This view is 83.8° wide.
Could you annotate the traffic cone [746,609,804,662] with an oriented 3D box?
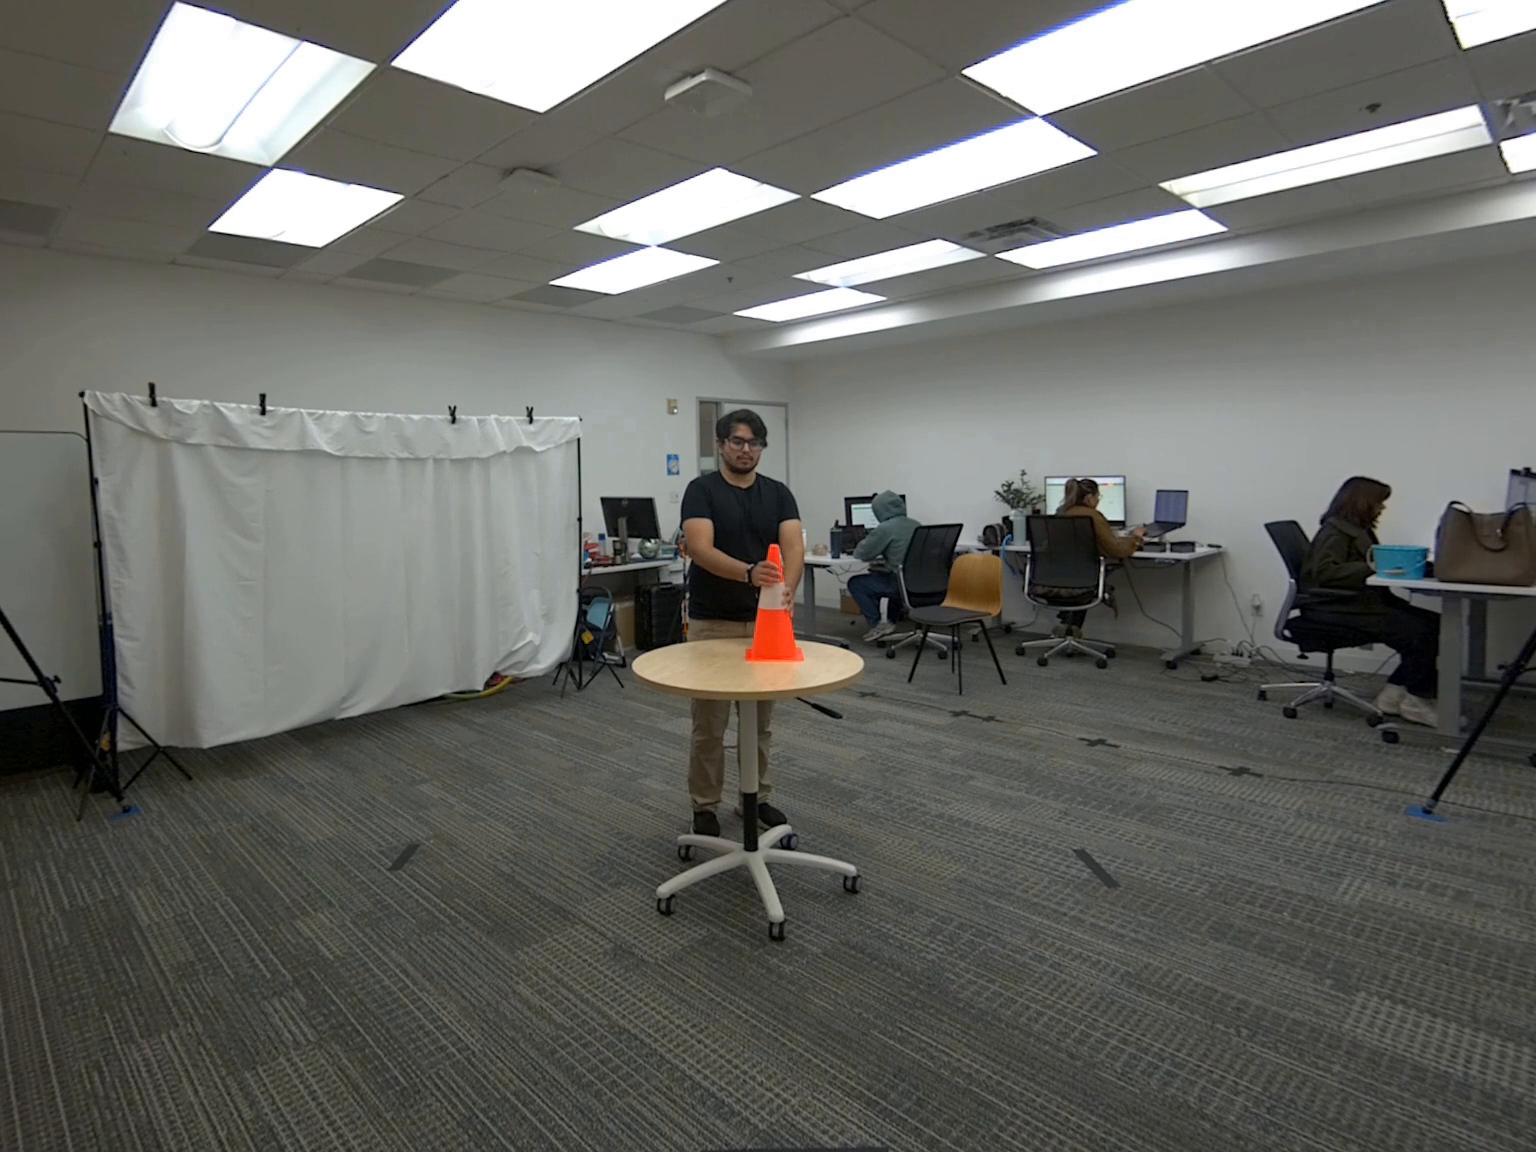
[{"bbox_3d":[0.017,0.090,2.915,0.203,0.382,0.206,-2,6,-1],"label":"traffic cone"}]
